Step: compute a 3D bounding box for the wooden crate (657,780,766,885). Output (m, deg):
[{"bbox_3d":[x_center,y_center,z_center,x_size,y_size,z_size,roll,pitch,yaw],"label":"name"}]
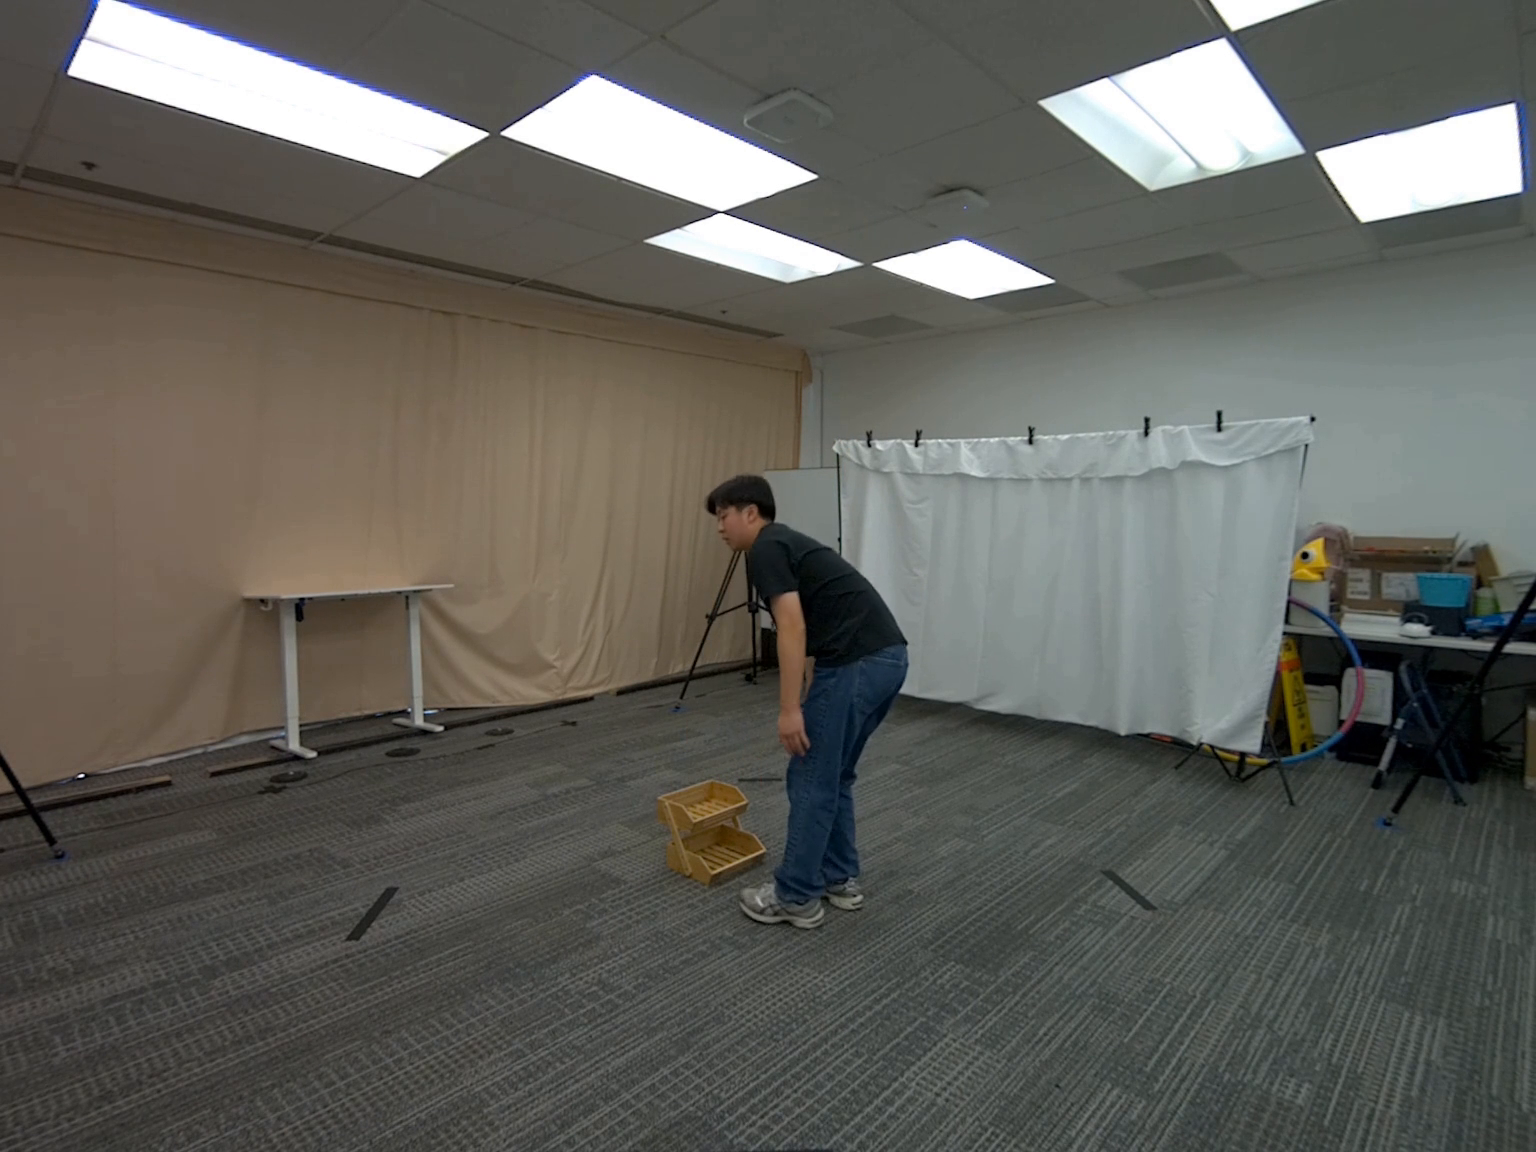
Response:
[{"bbox_3d":[-0.219,0.986,3.283,0.312,0.273,0.314,2,5,43],"label":"wooden crate"}]
